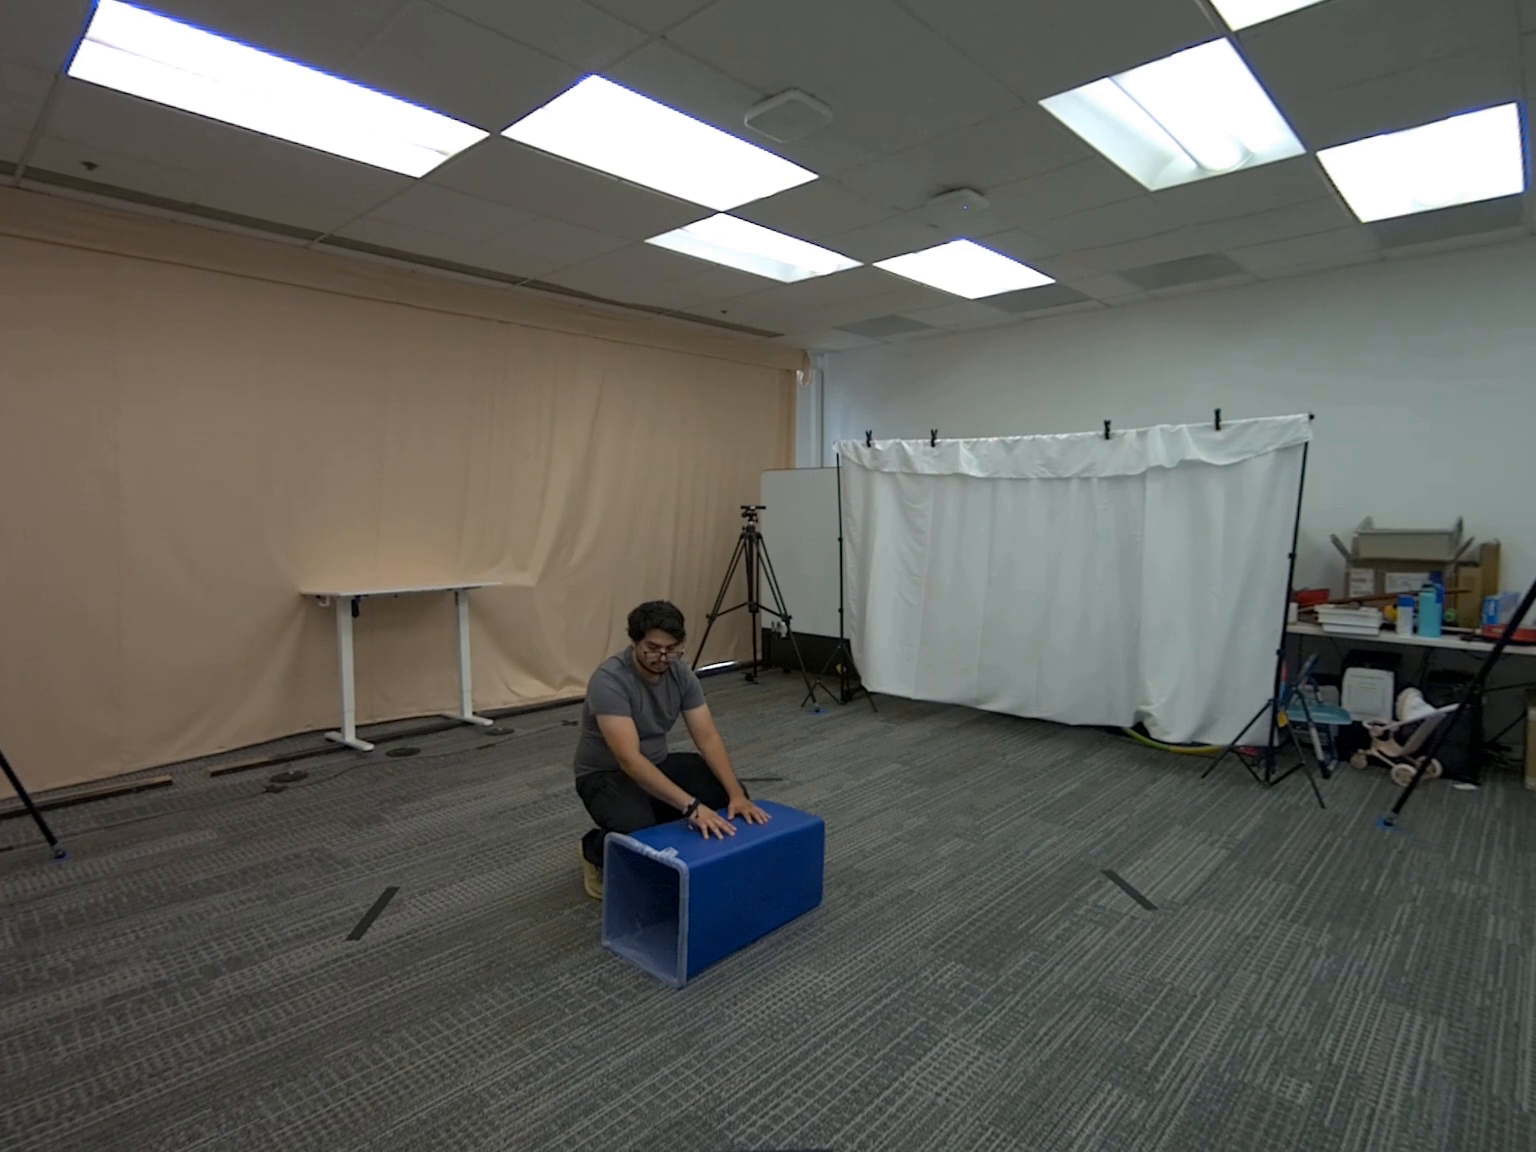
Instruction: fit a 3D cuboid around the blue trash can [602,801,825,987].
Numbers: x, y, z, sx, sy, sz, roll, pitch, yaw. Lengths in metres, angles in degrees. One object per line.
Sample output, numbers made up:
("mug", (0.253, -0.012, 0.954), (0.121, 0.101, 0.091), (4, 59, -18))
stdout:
("blue trash can", (-0.141, 0.991, 2.782), (0.386, 0.377, 0.691), (3, 4, 43))
